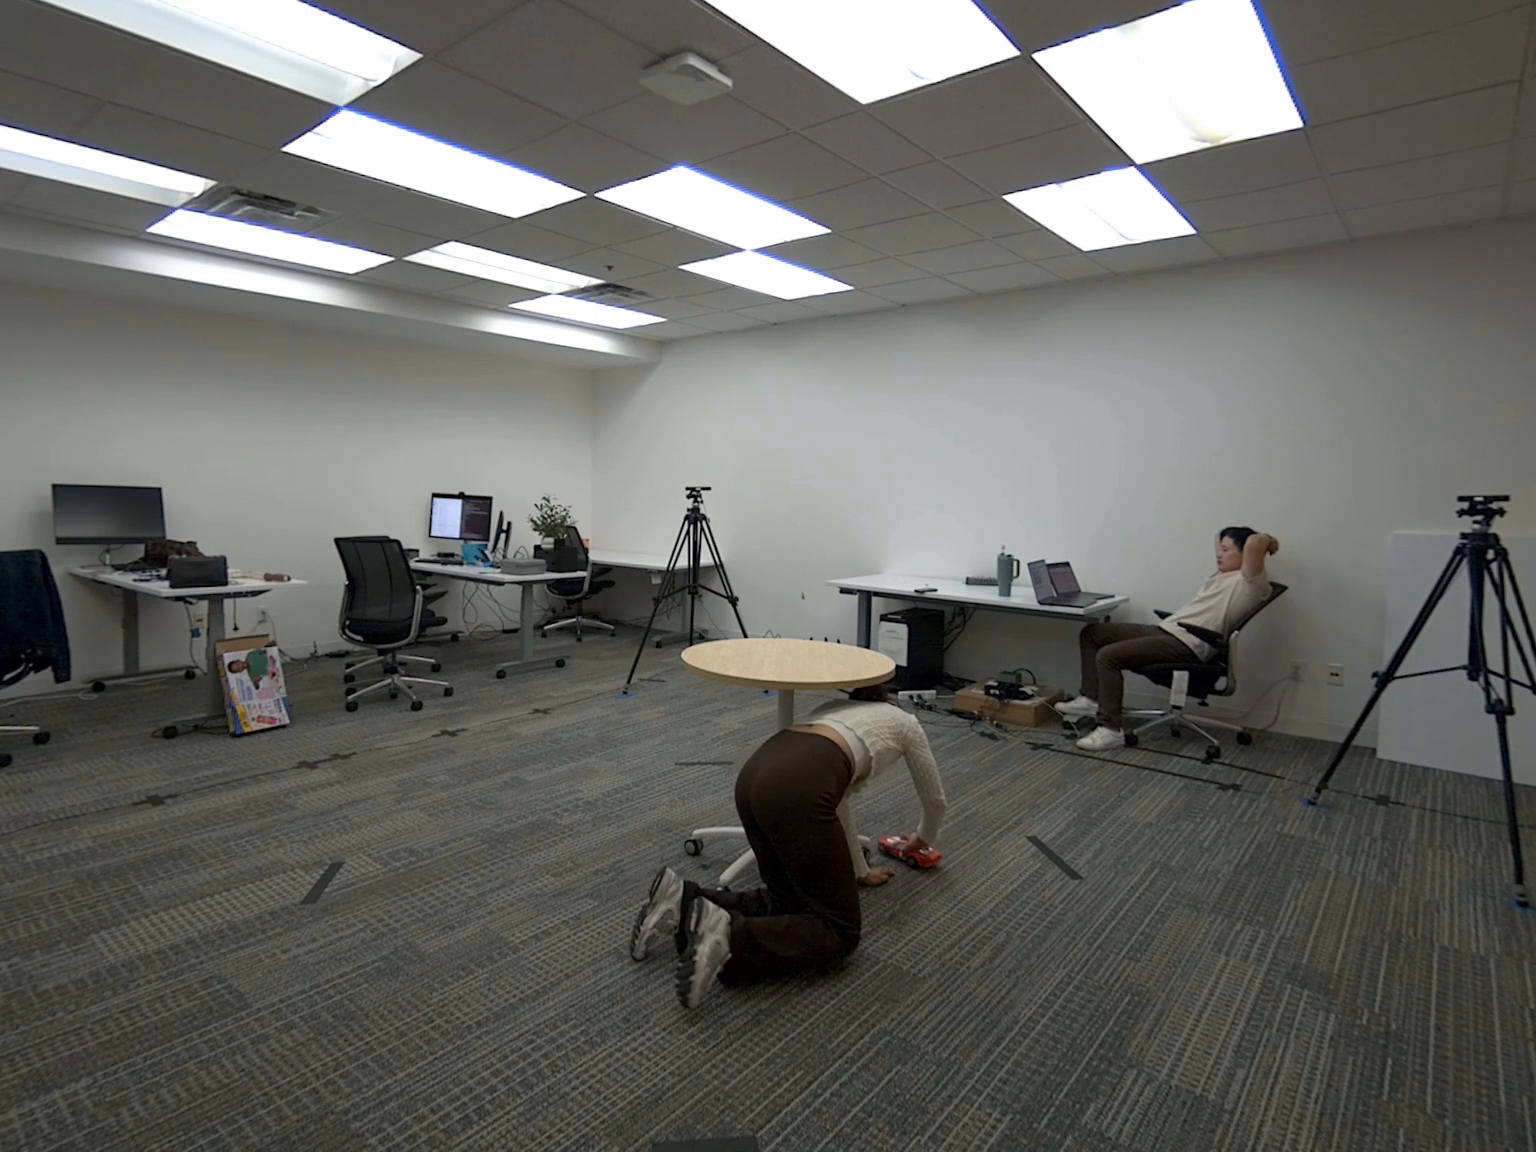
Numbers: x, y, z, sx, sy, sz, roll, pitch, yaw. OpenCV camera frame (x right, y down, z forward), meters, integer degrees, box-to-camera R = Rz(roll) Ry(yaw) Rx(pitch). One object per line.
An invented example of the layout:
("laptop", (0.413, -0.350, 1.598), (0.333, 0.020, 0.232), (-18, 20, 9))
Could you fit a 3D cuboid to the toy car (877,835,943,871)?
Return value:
("toy car", (0.531, 1.043, 3.210), (0.126, 0.083, 0.261), (-4, -2, -40))
